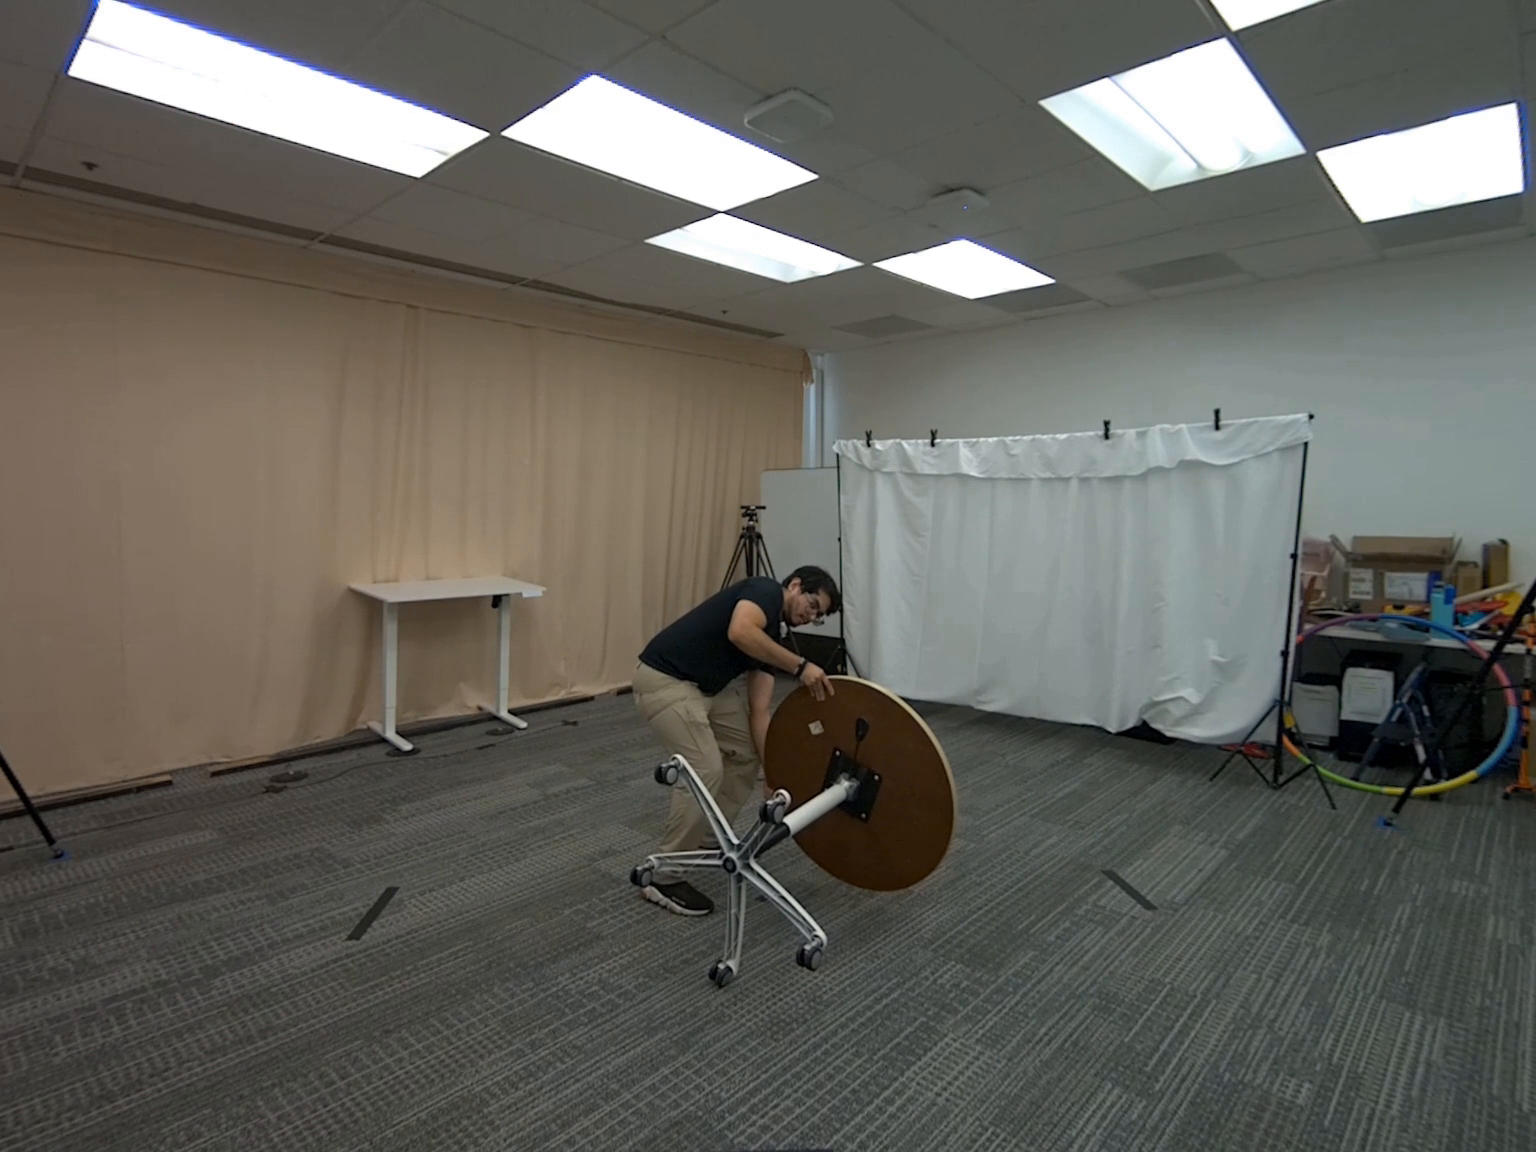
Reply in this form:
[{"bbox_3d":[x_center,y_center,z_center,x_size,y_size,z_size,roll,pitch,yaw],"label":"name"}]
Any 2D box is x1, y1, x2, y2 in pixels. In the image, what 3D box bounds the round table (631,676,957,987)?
[{"bbox_3d":[0.081,0.783,2.674,0.810,0.781,0.766,3,10,38],"label":"round table"}]
